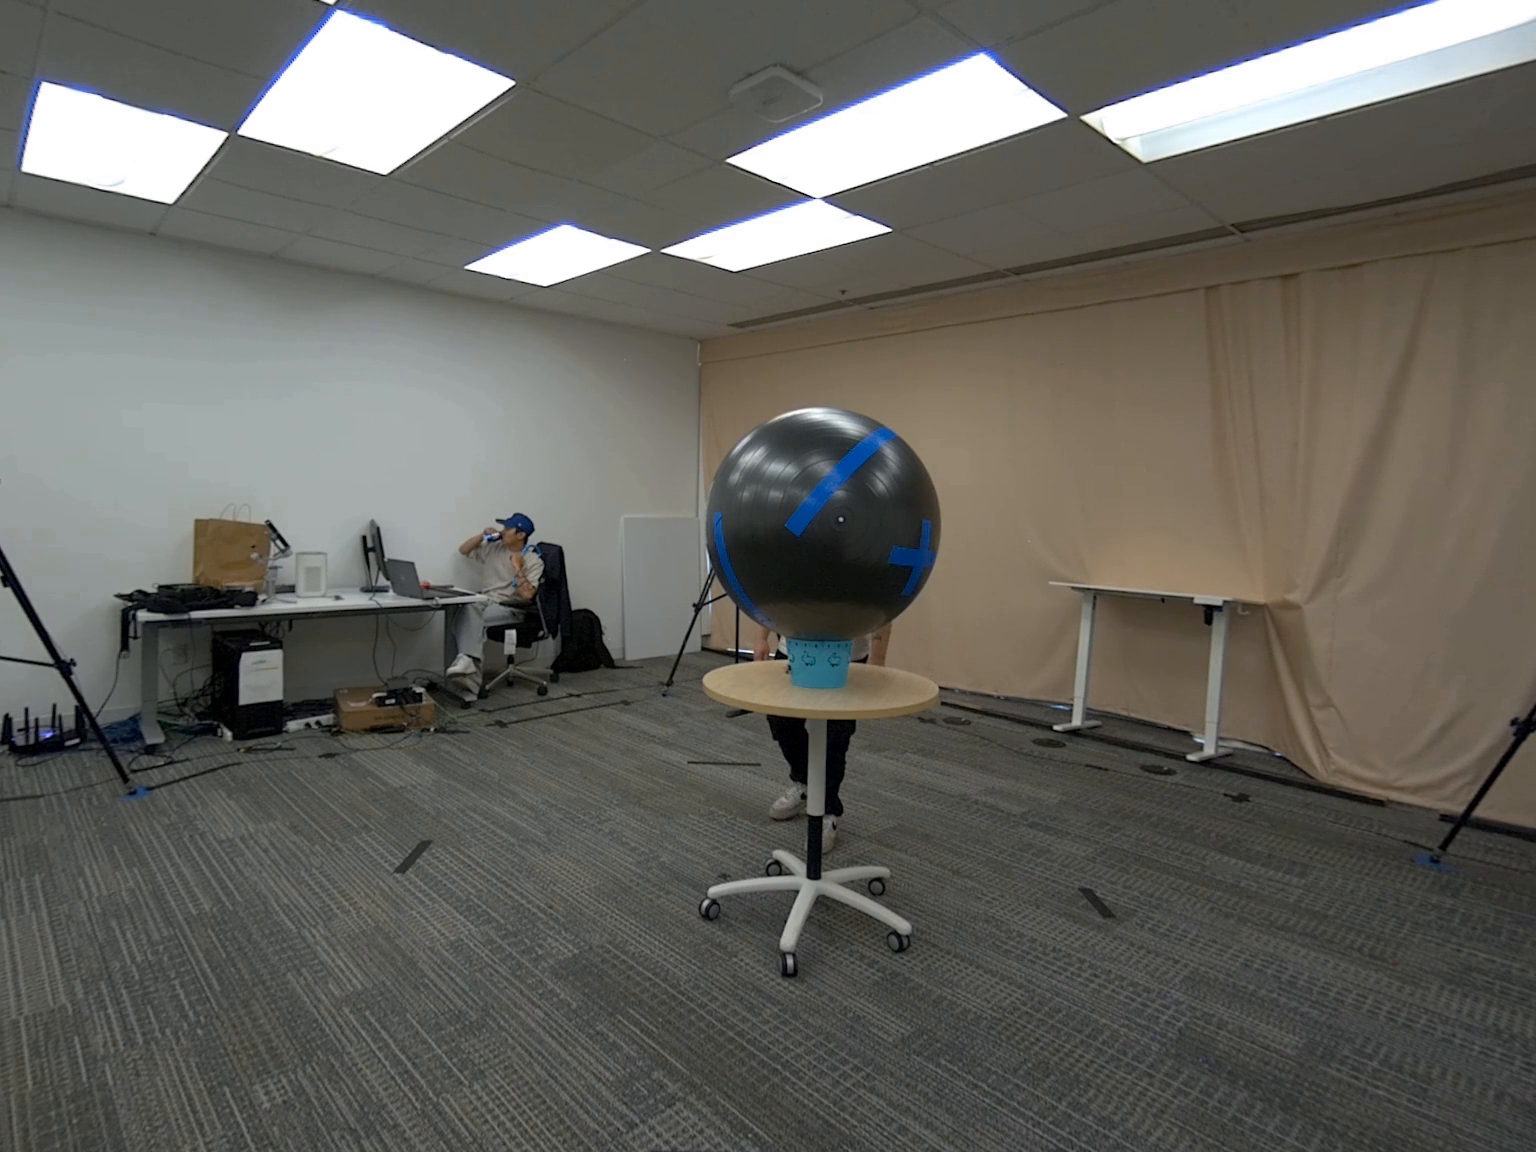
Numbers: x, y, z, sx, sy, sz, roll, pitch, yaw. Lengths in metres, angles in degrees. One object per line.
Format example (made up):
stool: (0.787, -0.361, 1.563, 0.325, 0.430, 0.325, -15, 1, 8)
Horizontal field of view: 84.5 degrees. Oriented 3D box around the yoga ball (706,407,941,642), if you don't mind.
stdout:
yoga ball: (0.168, -0.155, 2.735, 0.757, 0.756, 0.760, 1, 4, -1)
